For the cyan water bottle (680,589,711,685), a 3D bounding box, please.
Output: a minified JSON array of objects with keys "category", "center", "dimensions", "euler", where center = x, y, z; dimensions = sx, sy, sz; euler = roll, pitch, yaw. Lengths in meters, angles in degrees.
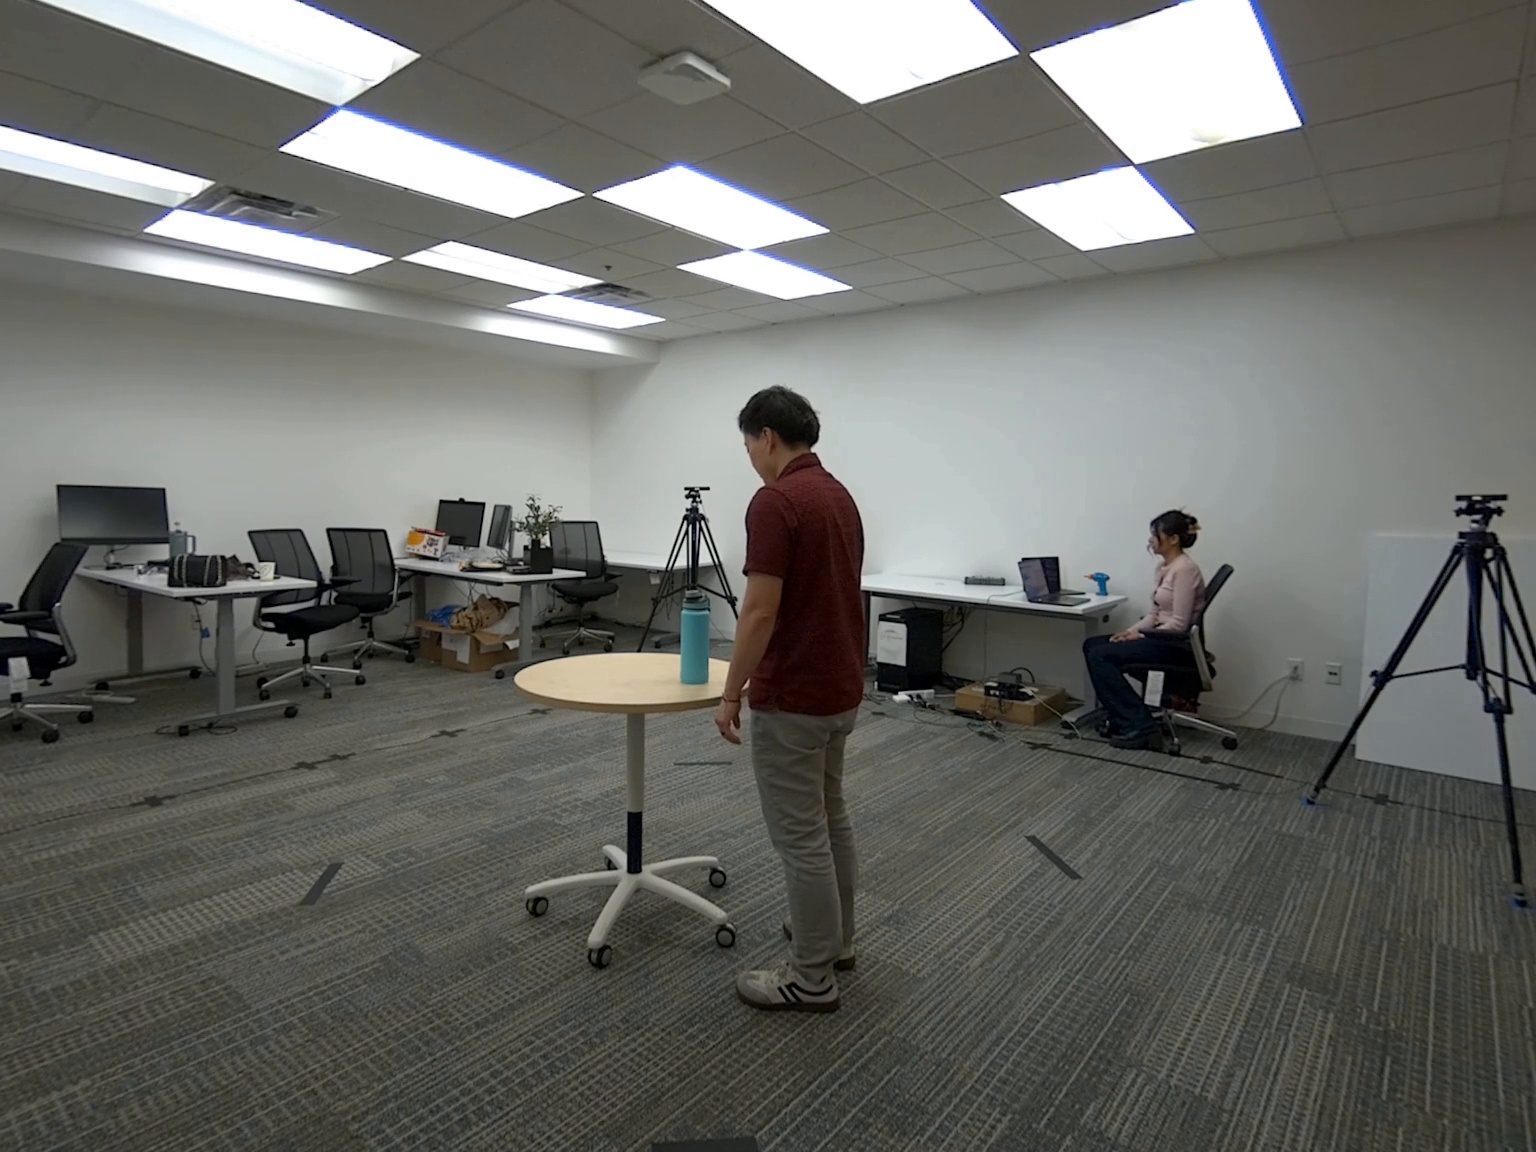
[{"category":"cyan water bottle","center":[-0.238,0.187,2.653],"dimensions":[0.092,0.283,0.092],"euler":[-1,1,-2]}]
